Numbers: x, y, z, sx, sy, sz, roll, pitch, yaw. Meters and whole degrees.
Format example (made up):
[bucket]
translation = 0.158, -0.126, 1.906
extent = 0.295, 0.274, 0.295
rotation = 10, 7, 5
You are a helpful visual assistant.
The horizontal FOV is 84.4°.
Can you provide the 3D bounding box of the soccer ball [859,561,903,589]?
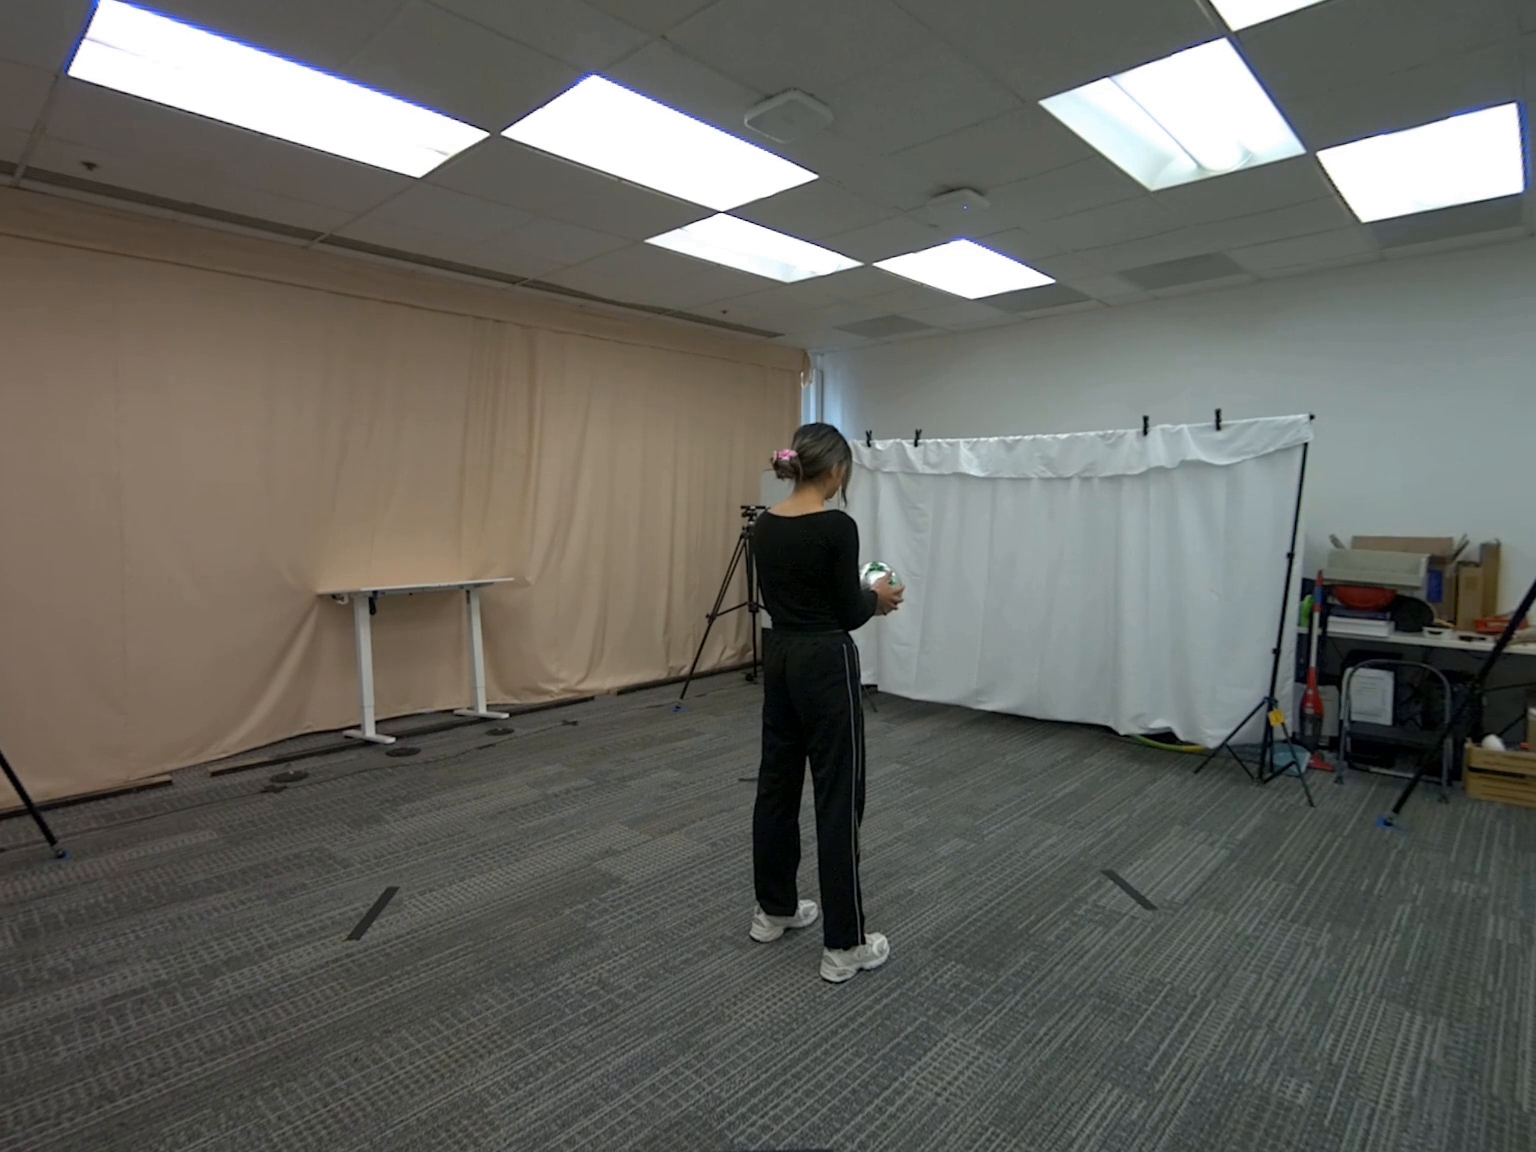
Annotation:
[soccer ball]
translation = 0.374, 0.045, 2.885
extent = 0.187, 0.187, 0.188
rotation = 0, 4, -2
